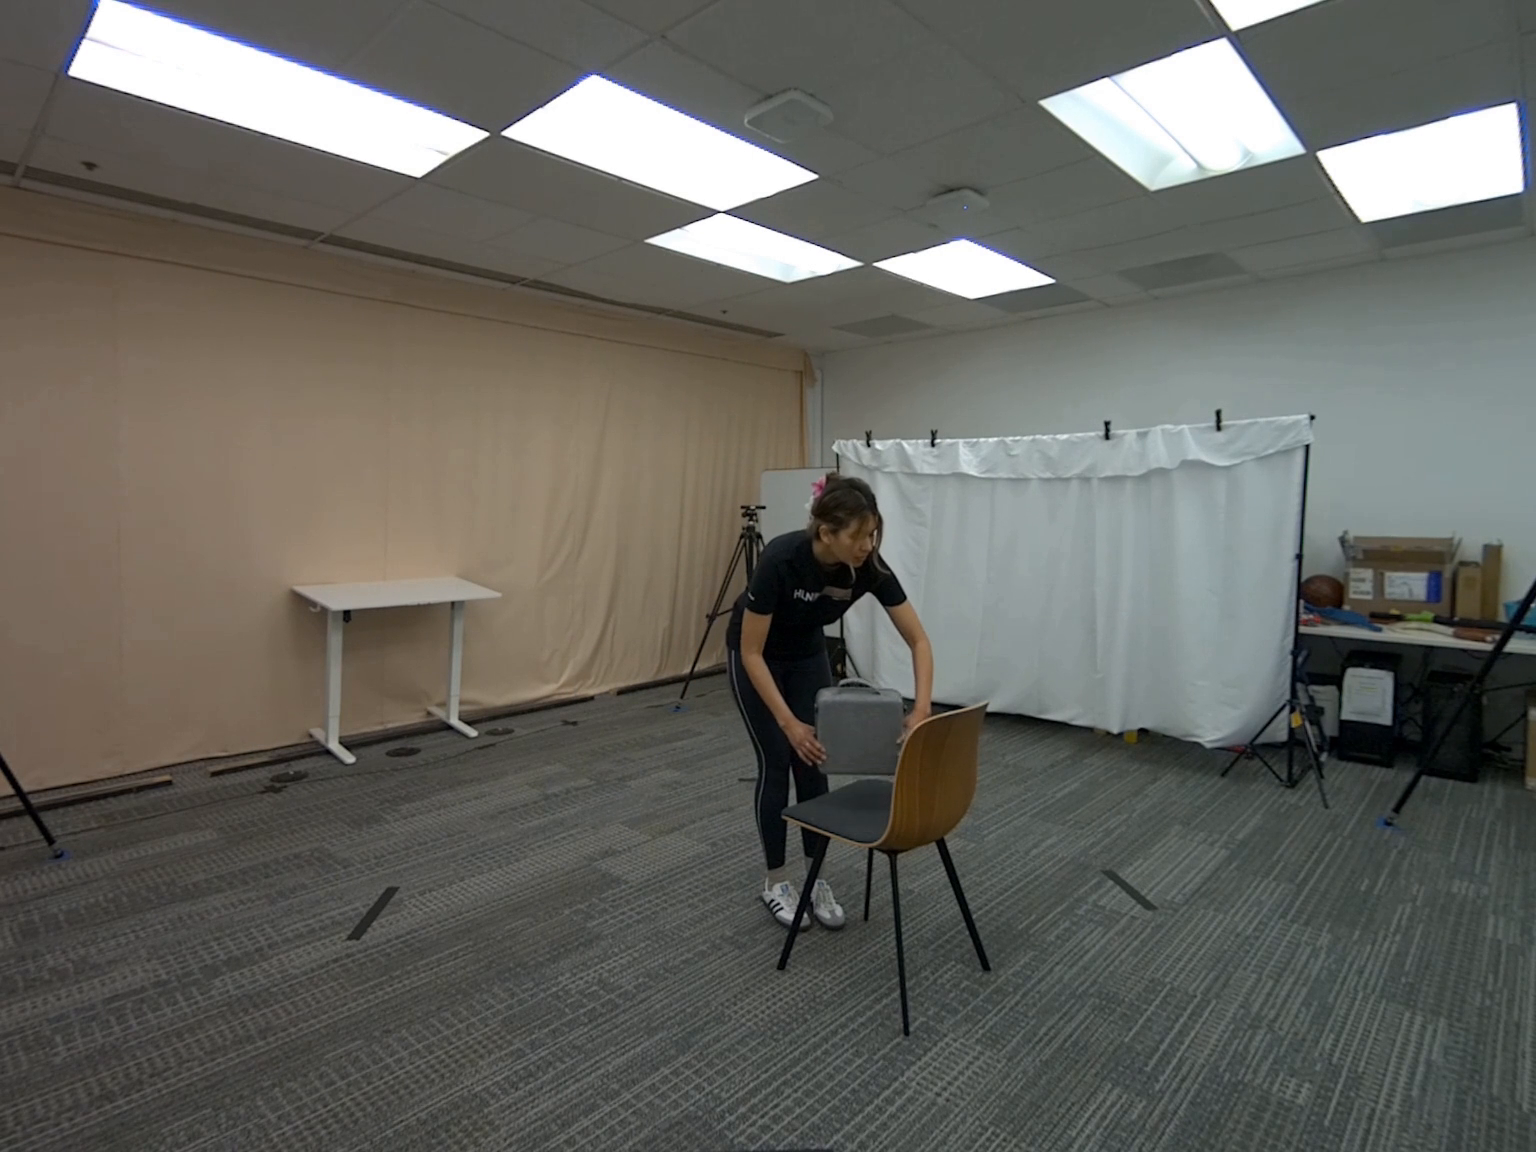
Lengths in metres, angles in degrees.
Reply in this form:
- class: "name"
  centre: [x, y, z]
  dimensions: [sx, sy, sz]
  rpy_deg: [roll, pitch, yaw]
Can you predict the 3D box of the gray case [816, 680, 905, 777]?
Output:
- class: "gray case"
  centre: [0.285, 0.461, 2.511]
  dimensions: [0.258, 0.259, 0.104]
  rpy_deg: [-1, 10, 5]
